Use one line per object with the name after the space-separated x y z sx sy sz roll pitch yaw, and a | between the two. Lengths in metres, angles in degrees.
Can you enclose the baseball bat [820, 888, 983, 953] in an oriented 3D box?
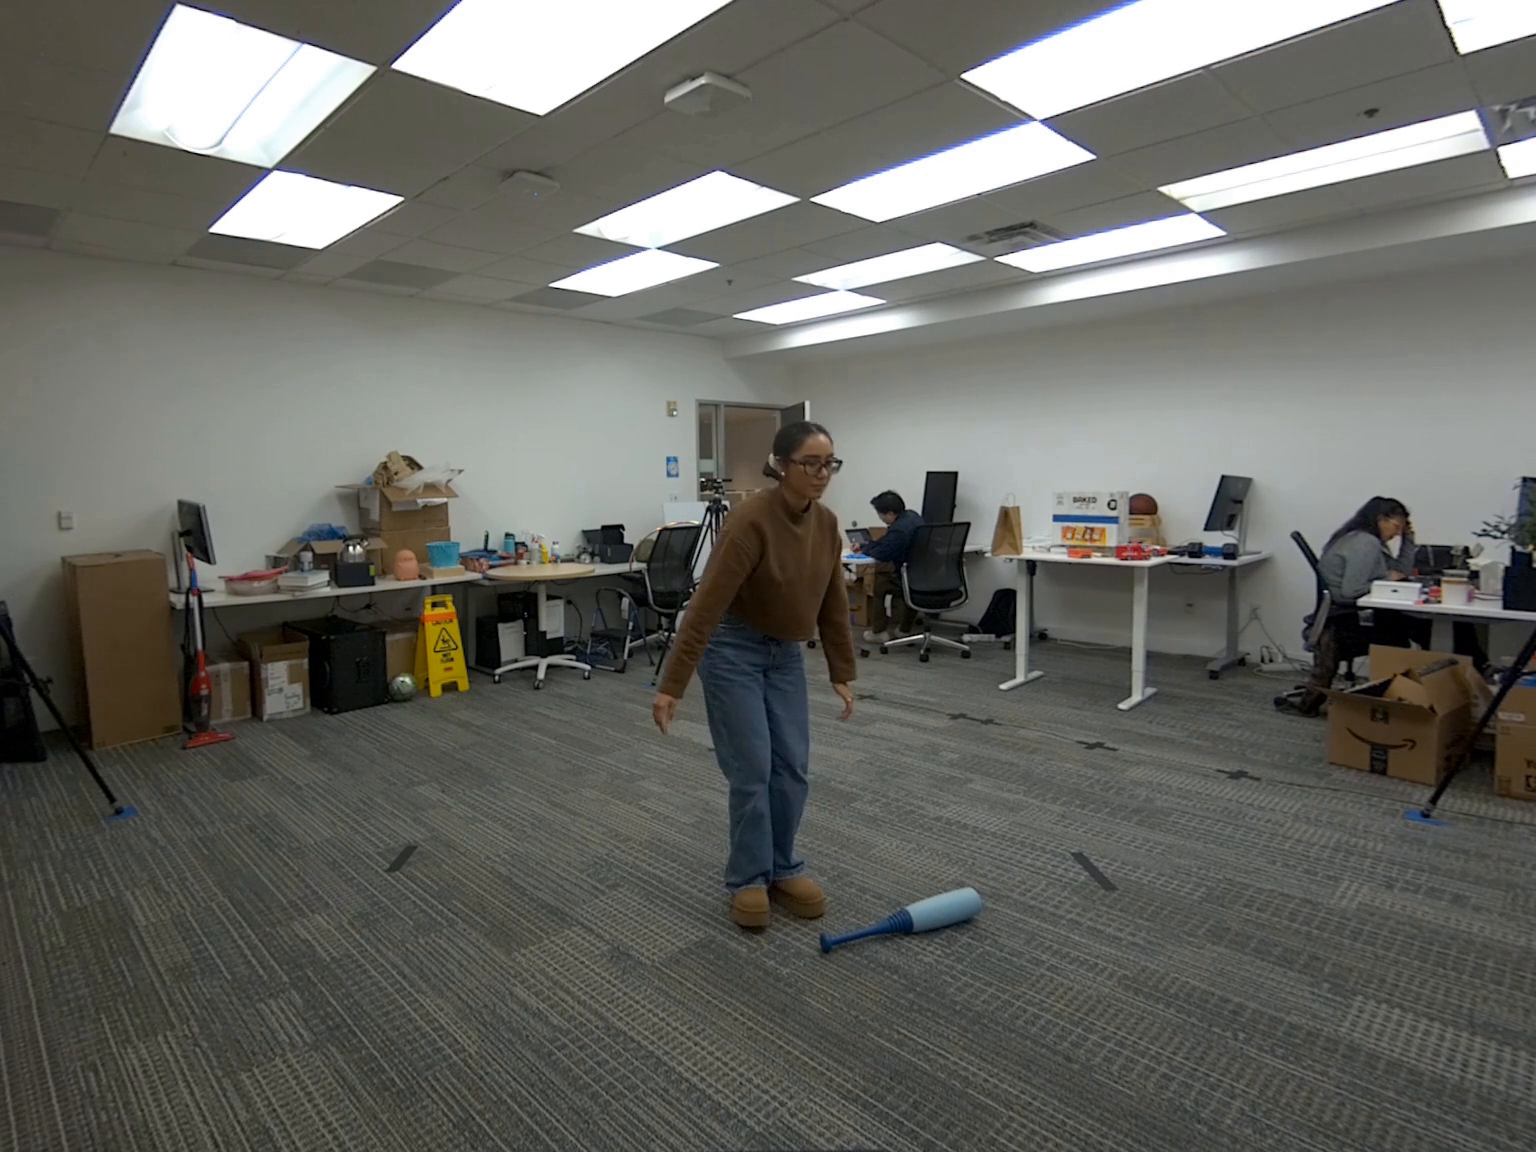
0.409 1.054 2.611 0.535 0.088 0.091 -6 6 -18 | baseball bat
